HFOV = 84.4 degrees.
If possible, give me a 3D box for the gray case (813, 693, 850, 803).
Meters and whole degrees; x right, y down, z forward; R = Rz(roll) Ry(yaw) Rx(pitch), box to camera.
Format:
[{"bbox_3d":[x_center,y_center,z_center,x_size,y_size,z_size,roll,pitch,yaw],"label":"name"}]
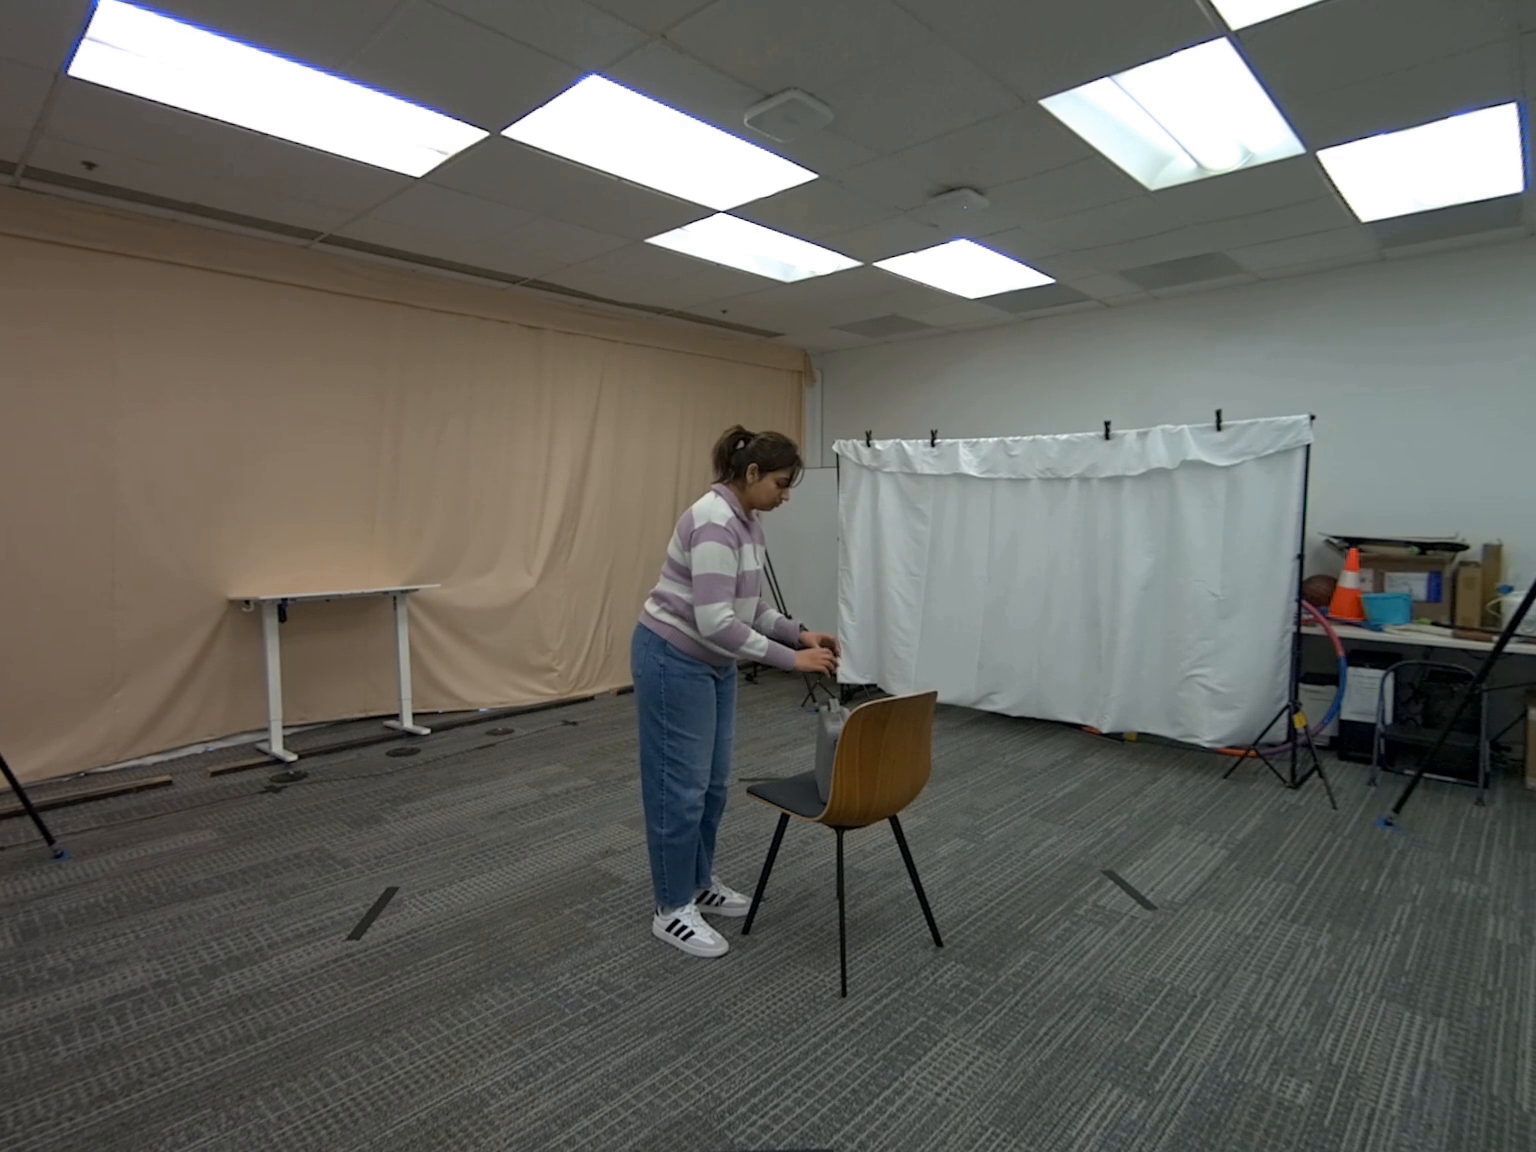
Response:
[{"bbox_3d":[0.227,0.559,2.660,0.104,0.260,0.258,2,6,-4],"label":"gray case"}]
